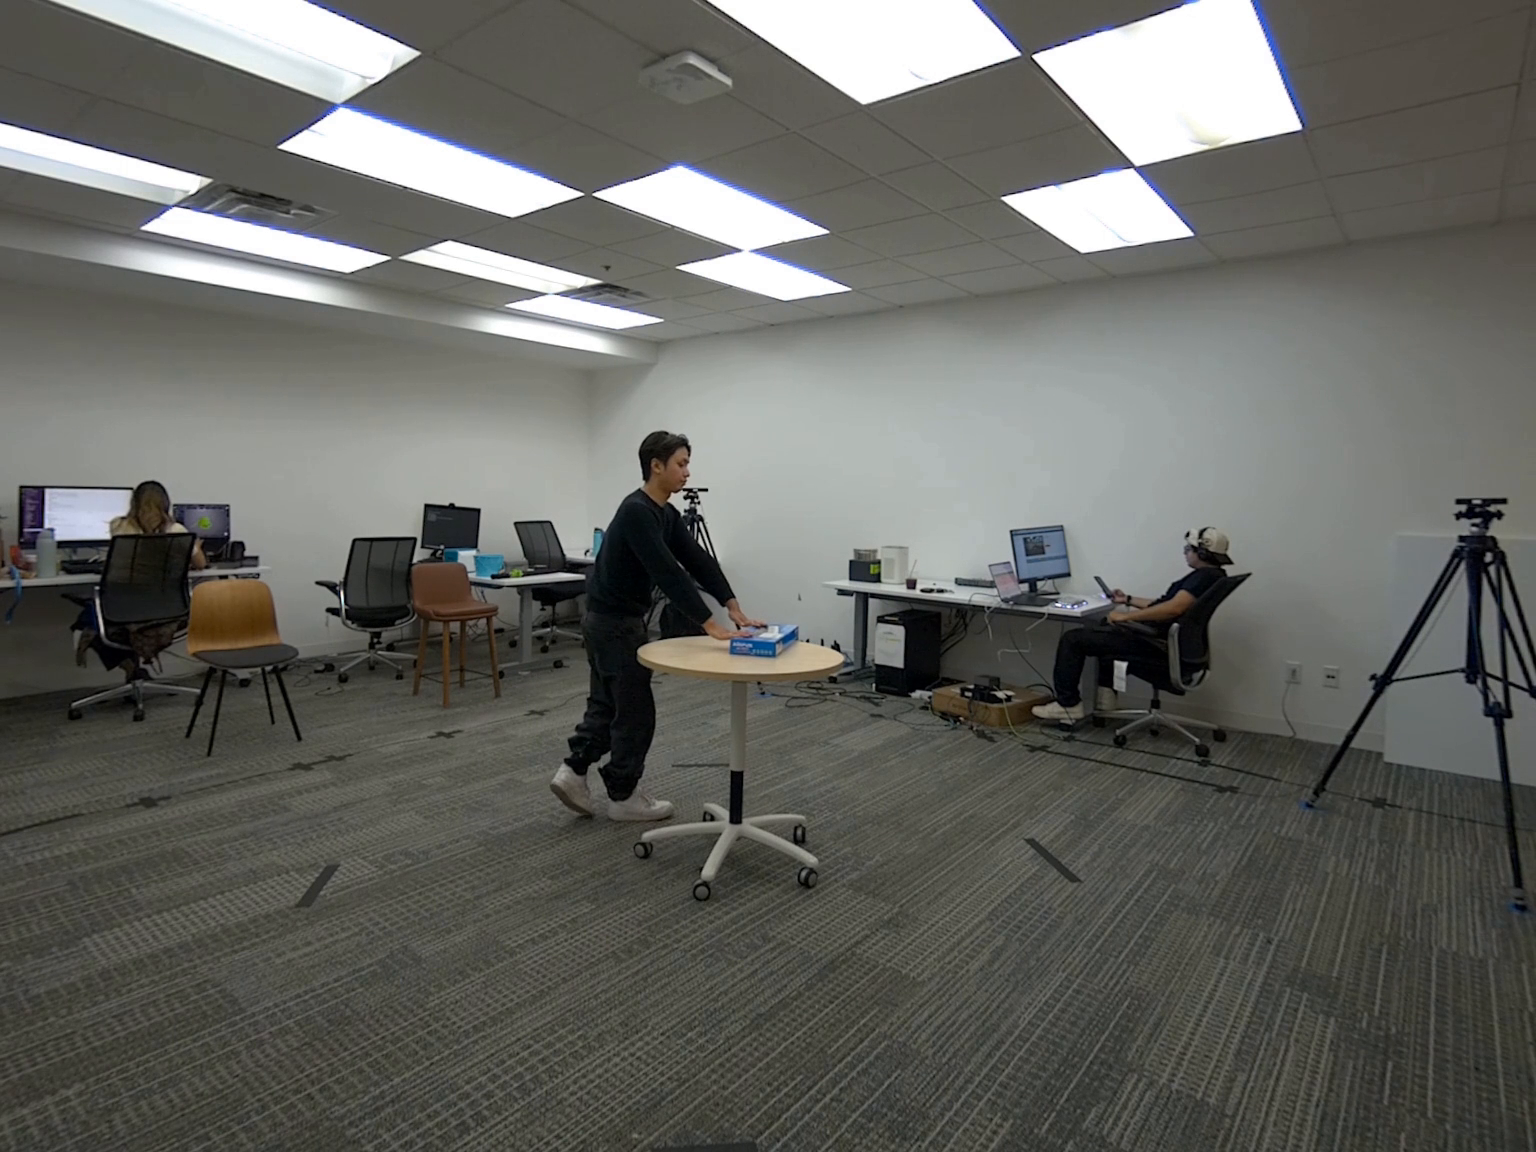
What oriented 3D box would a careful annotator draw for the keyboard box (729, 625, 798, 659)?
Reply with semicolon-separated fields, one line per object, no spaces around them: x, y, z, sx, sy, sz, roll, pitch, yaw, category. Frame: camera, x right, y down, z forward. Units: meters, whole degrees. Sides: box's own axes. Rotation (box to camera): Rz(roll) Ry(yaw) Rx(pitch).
-0.022;0.244;3.319;0.179;0.059;0.431;3;6;13;keyboard box
